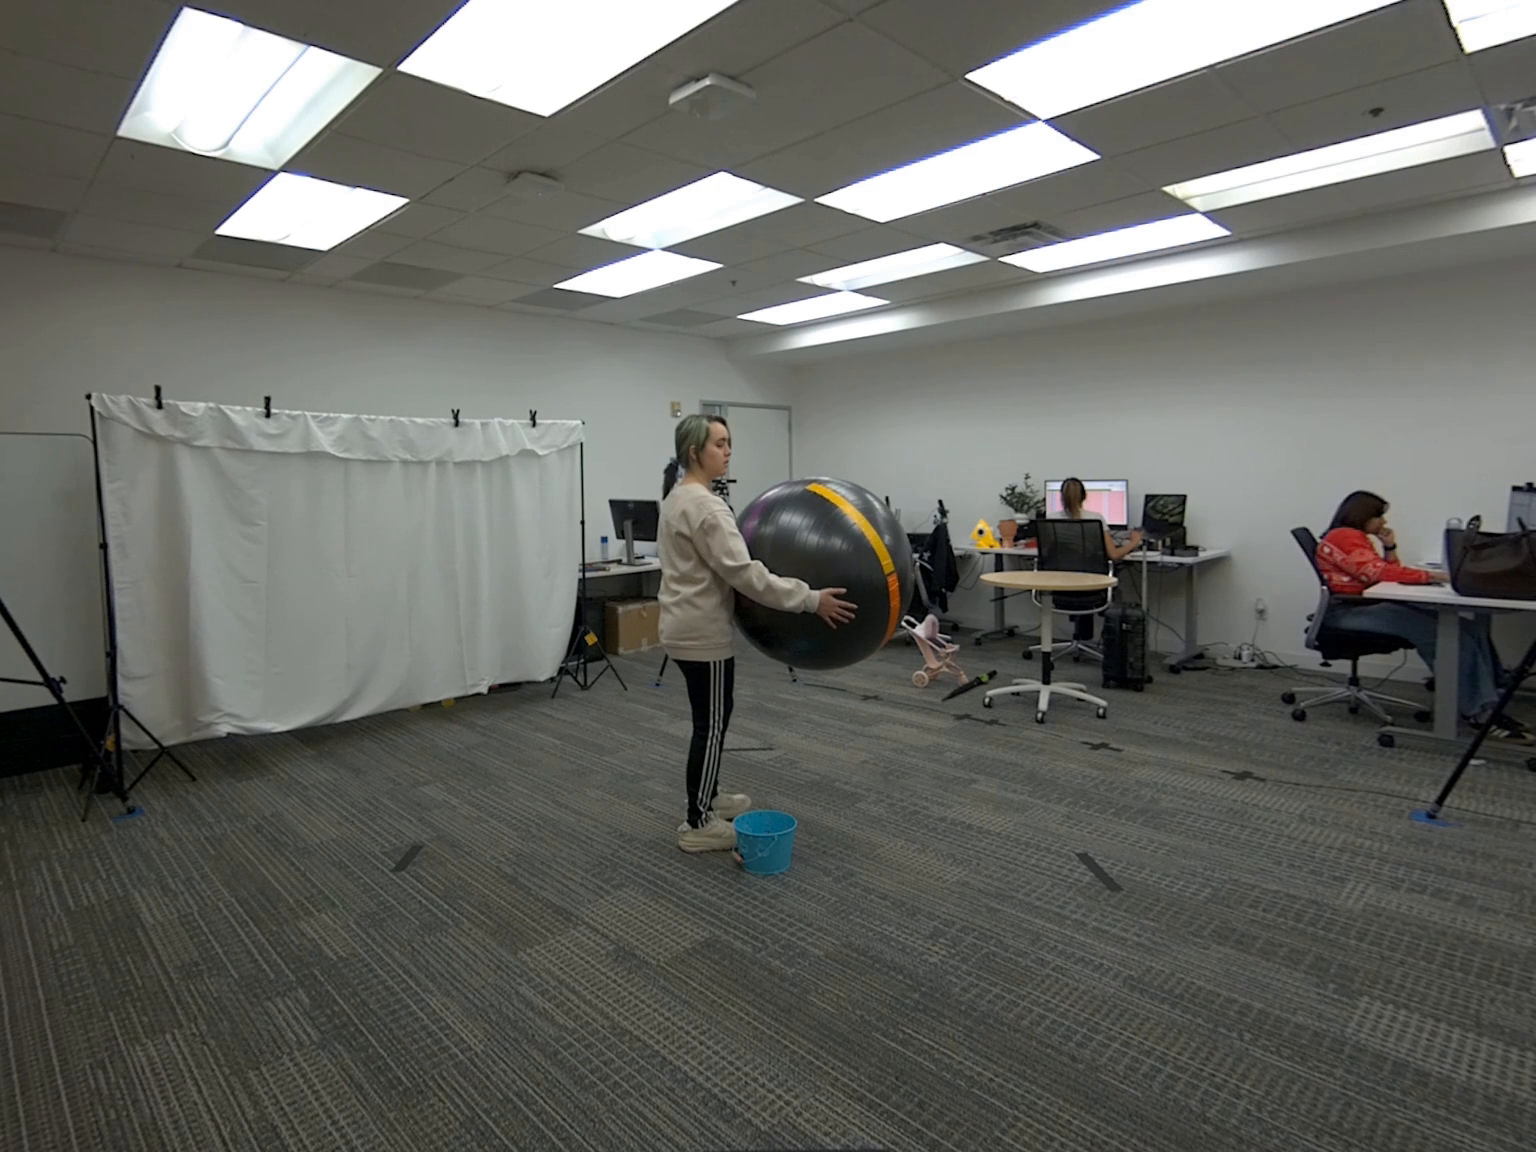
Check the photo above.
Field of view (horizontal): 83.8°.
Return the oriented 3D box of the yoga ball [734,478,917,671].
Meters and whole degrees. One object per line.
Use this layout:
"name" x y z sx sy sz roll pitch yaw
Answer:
"yoga ball" 0.202 -0.008 3.366 0.757 0.755 0.762 -1 5 -2
